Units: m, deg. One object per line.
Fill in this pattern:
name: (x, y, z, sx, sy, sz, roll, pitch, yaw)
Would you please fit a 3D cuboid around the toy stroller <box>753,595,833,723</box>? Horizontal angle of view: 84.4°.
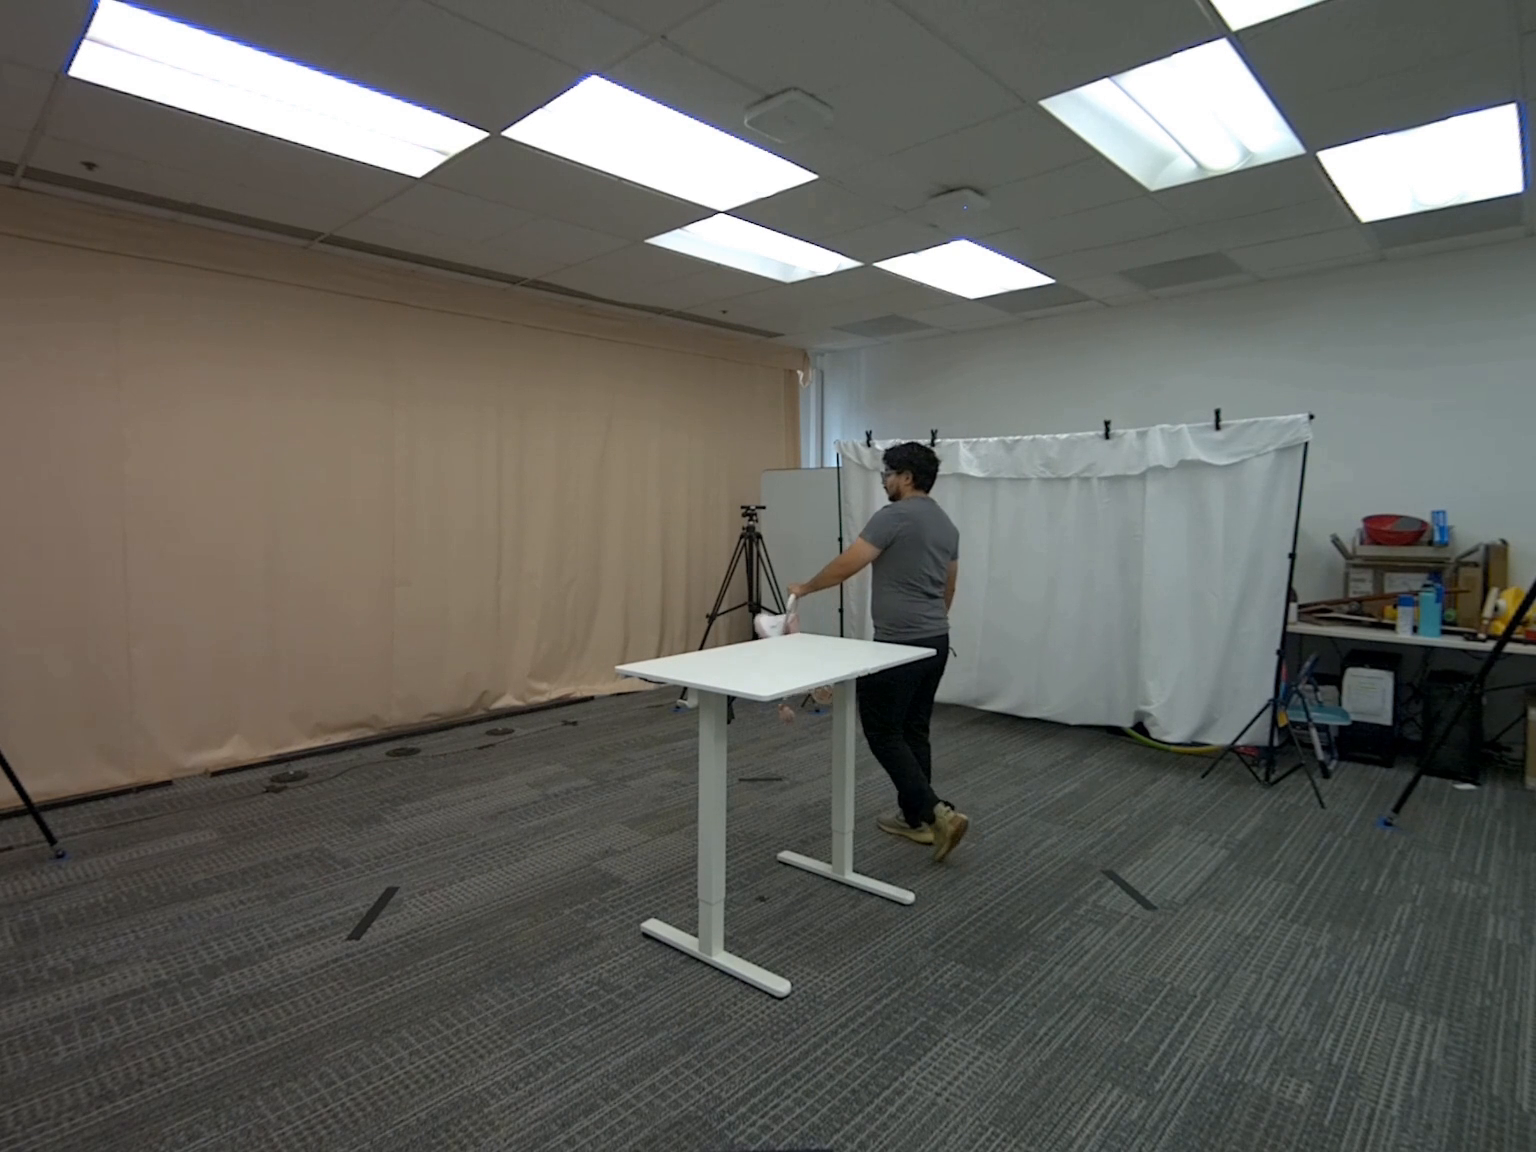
toy stroller: (0.105, 0.369, 3.689, 0.347, 0.532, 0.278, -24, 5, 23)
